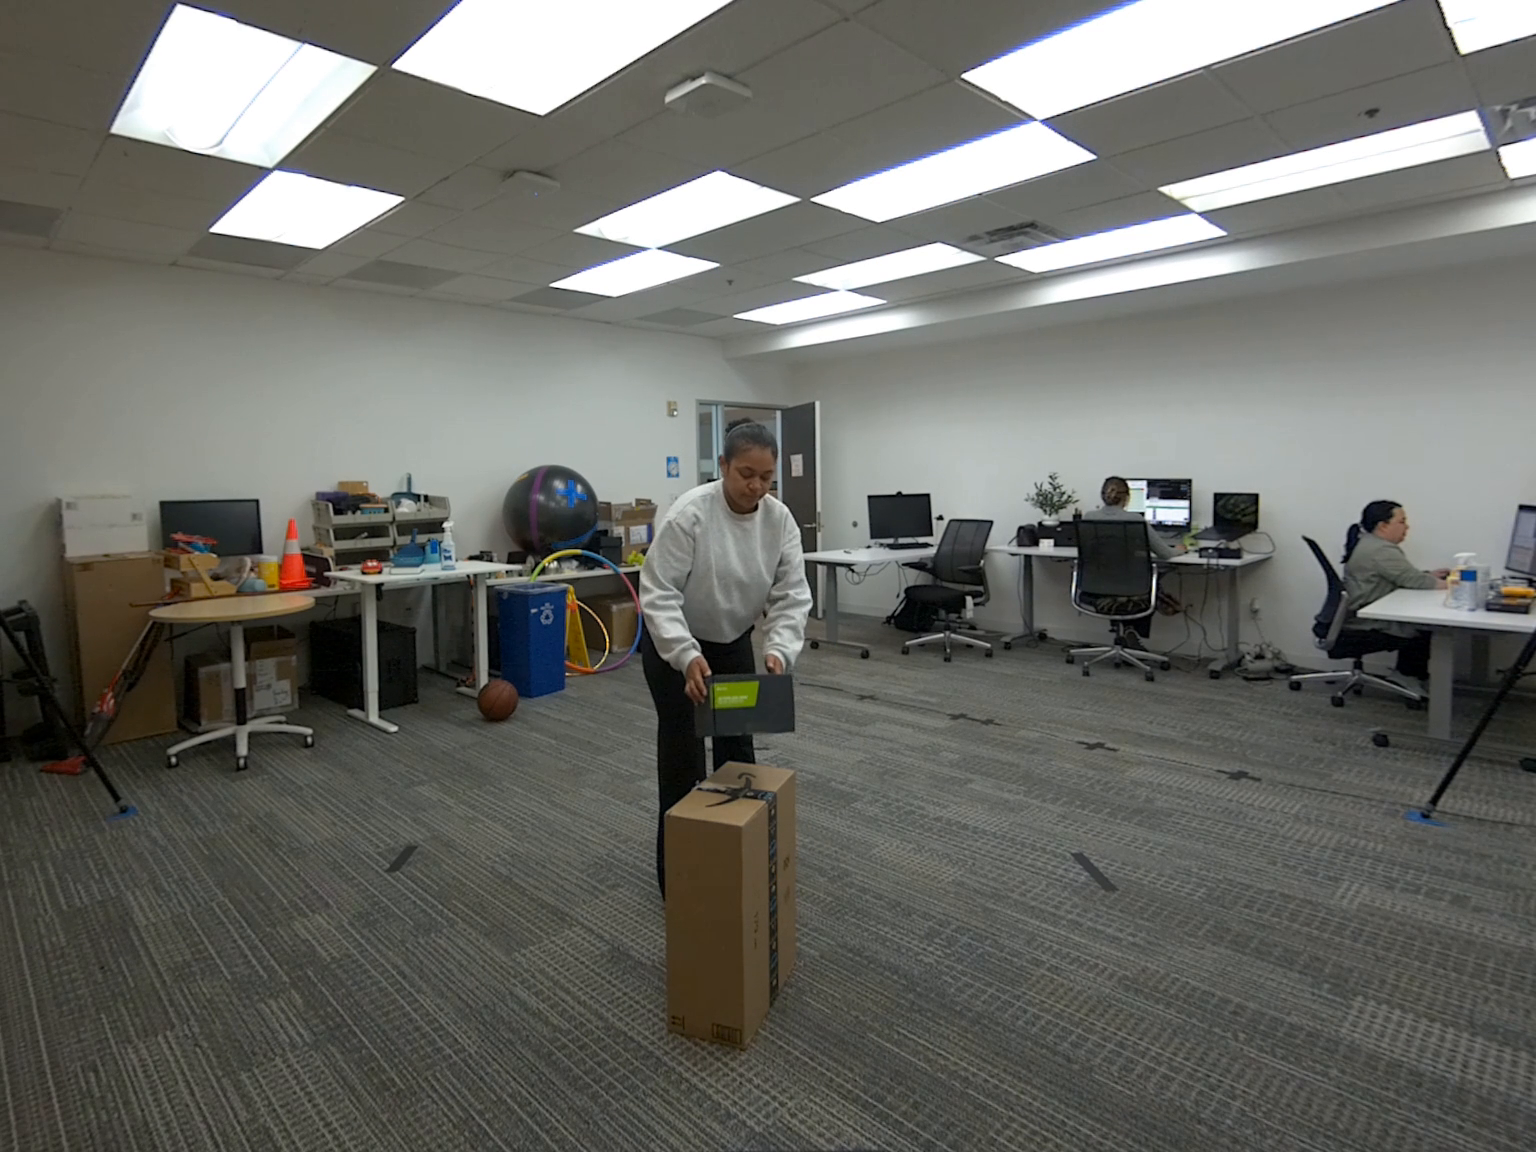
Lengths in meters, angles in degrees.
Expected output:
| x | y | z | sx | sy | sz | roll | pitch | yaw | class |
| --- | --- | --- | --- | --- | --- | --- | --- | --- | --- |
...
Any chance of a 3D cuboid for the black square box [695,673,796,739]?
| x | y | z | sx | sy | sz | roll | pitch | yaw | class |
| --- | --- | --- | --- | --- | --- | --- | --- | --- | --- |
| -0.062 | 0.371 | 2.388 | 0.224 | 0.157 | 0.218 | 0 | -10 | -18 | black square box |
